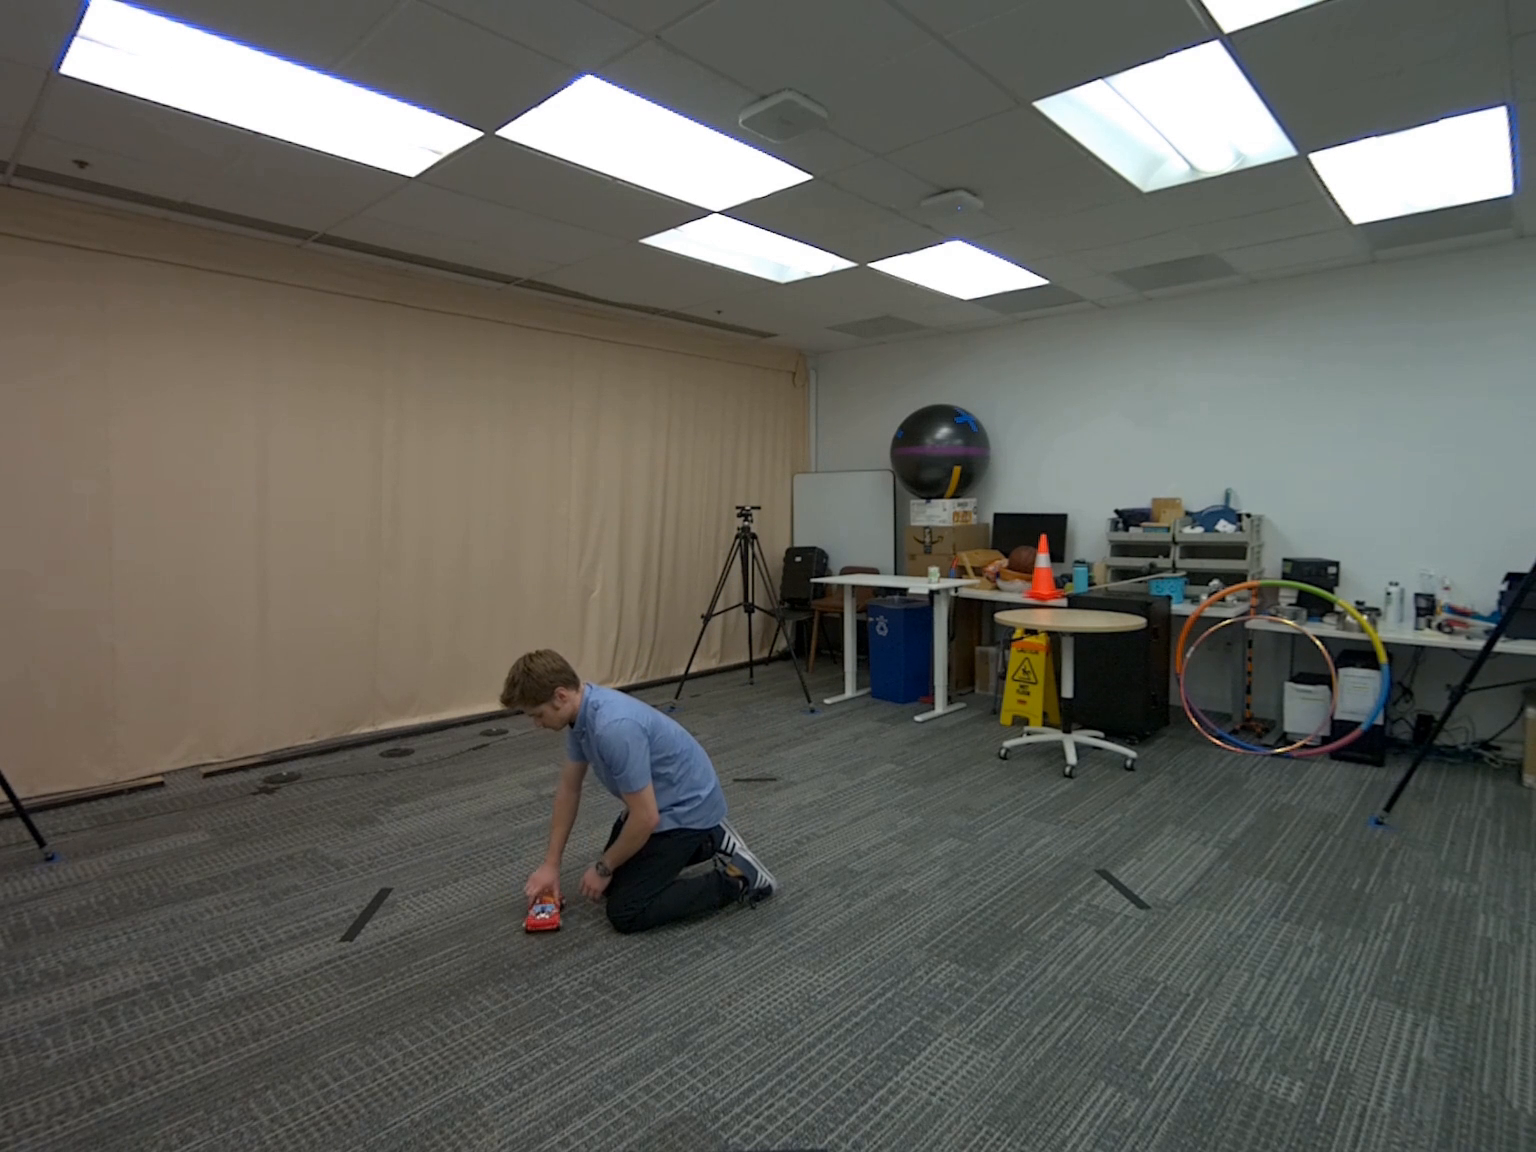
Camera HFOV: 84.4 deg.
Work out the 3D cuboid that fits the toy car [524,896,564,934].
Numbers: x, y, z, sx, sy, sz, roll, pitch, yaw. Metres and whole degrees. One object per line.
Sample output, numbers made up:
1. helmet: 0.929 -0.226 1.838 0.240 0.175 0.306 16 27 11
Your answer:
1. toy car: -0.759 1.132 2.857 0.129 0.082 0.260 -3 15 -12
